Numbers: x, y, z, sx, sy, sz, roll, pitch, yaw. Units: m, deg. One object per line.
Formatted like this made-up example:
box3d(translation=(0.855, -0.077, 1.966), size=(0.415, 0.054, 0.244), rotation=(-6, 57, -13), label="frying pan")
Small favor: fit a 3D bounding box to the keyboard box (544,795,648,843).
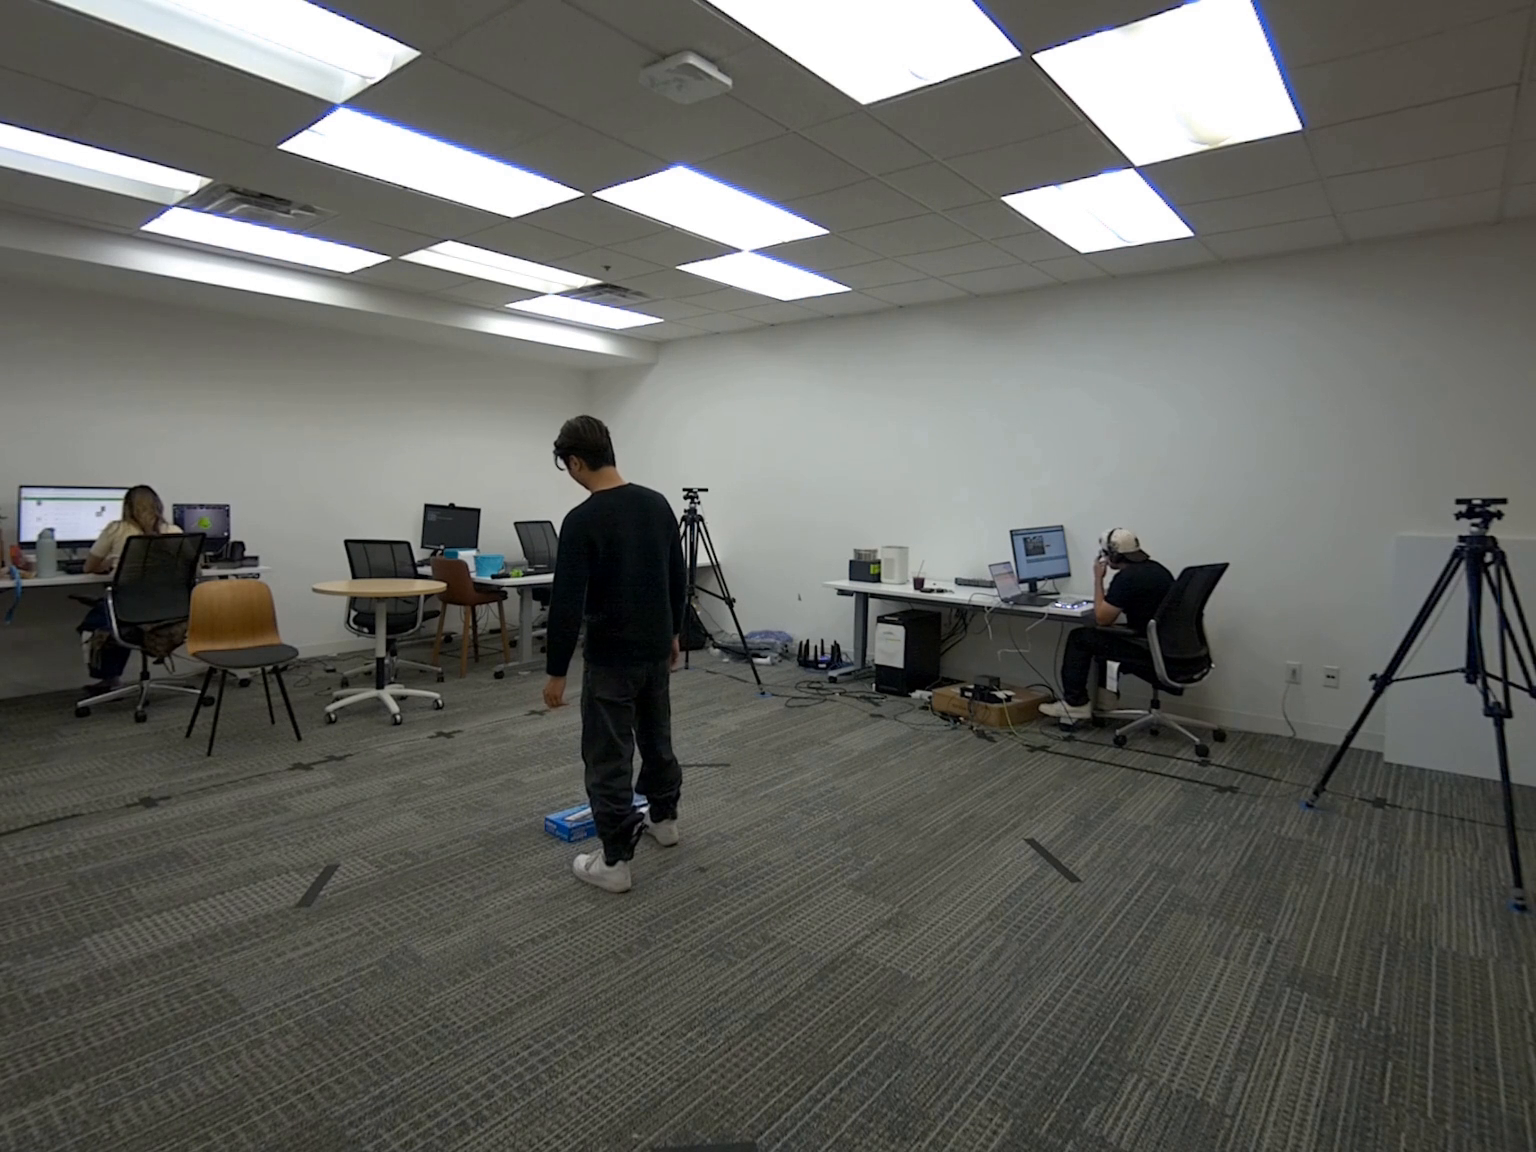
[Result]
box3d(translation=(-0.714, 0.991, 3.528), size=(0.182, 0.059, 0.424), rotation=(5, 6, 42), label="keyboard box")
